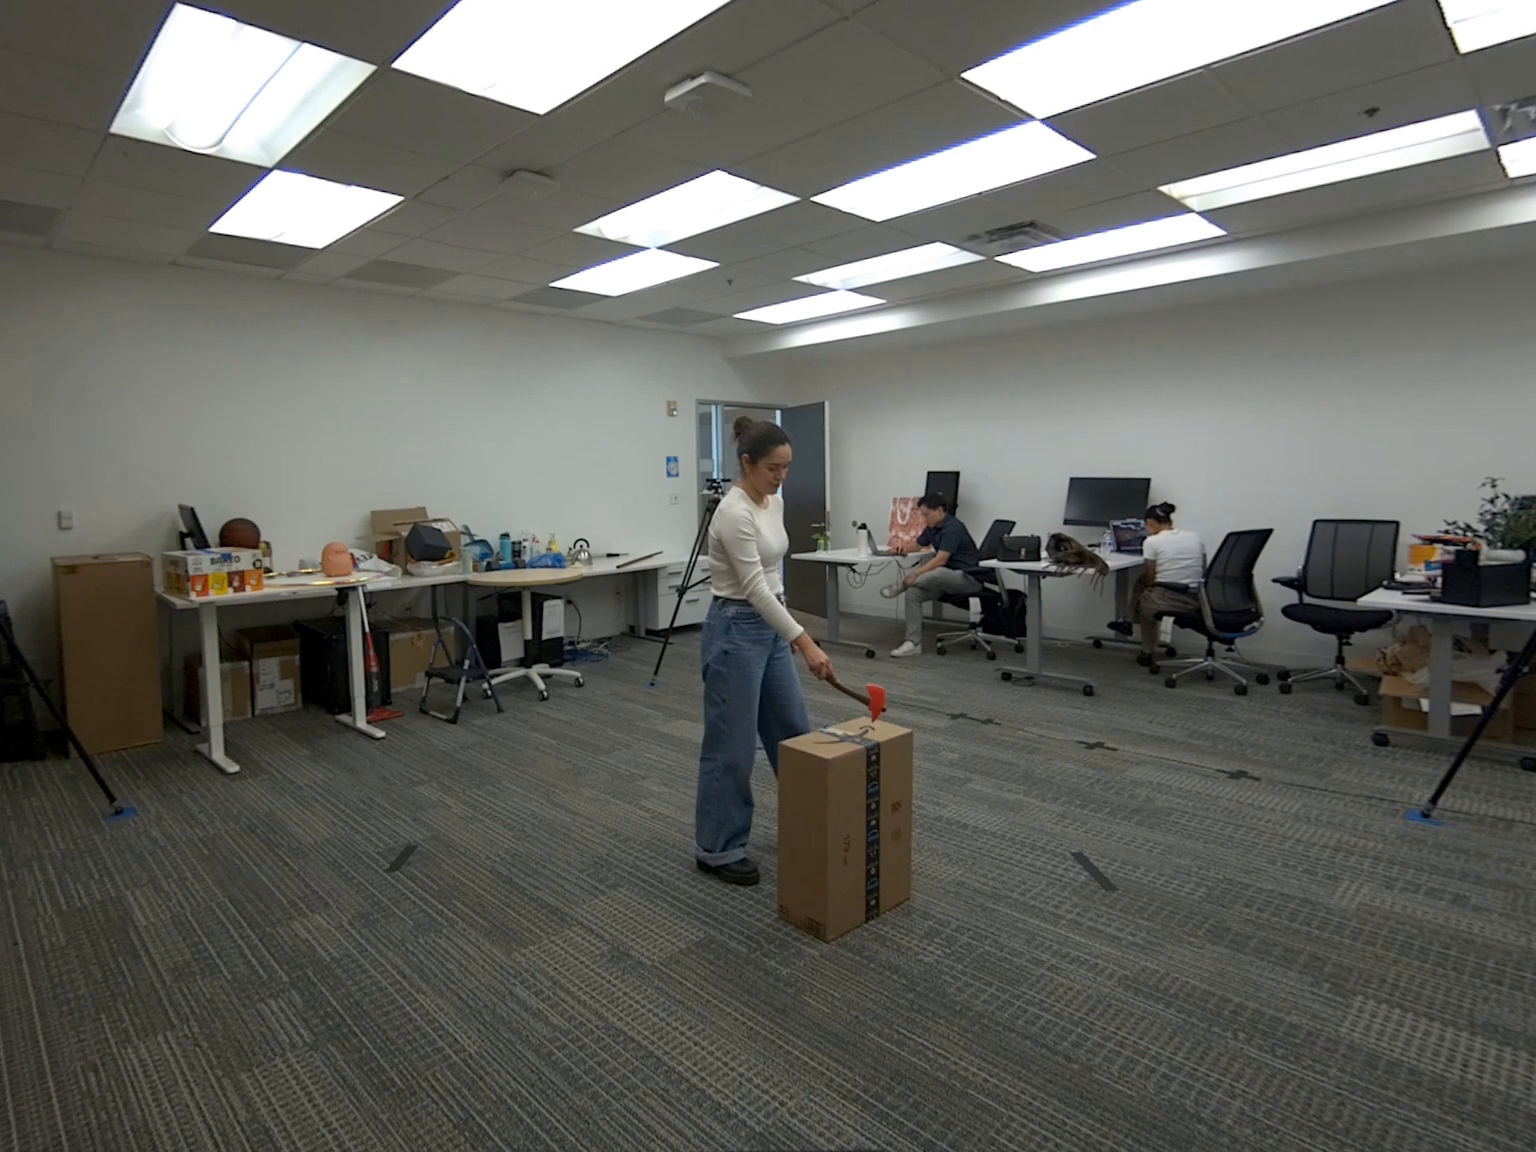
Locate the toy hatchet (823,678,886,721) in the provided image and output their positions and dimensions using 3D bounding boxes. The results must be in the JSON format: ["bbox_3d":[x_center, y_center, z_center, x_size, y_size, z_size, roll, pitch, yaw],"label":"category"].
[{"bbox_3d":[0.267,0.345,2.752,0.276,0.130,0.029,45,37,17],"label":"toy hatchet"}]
